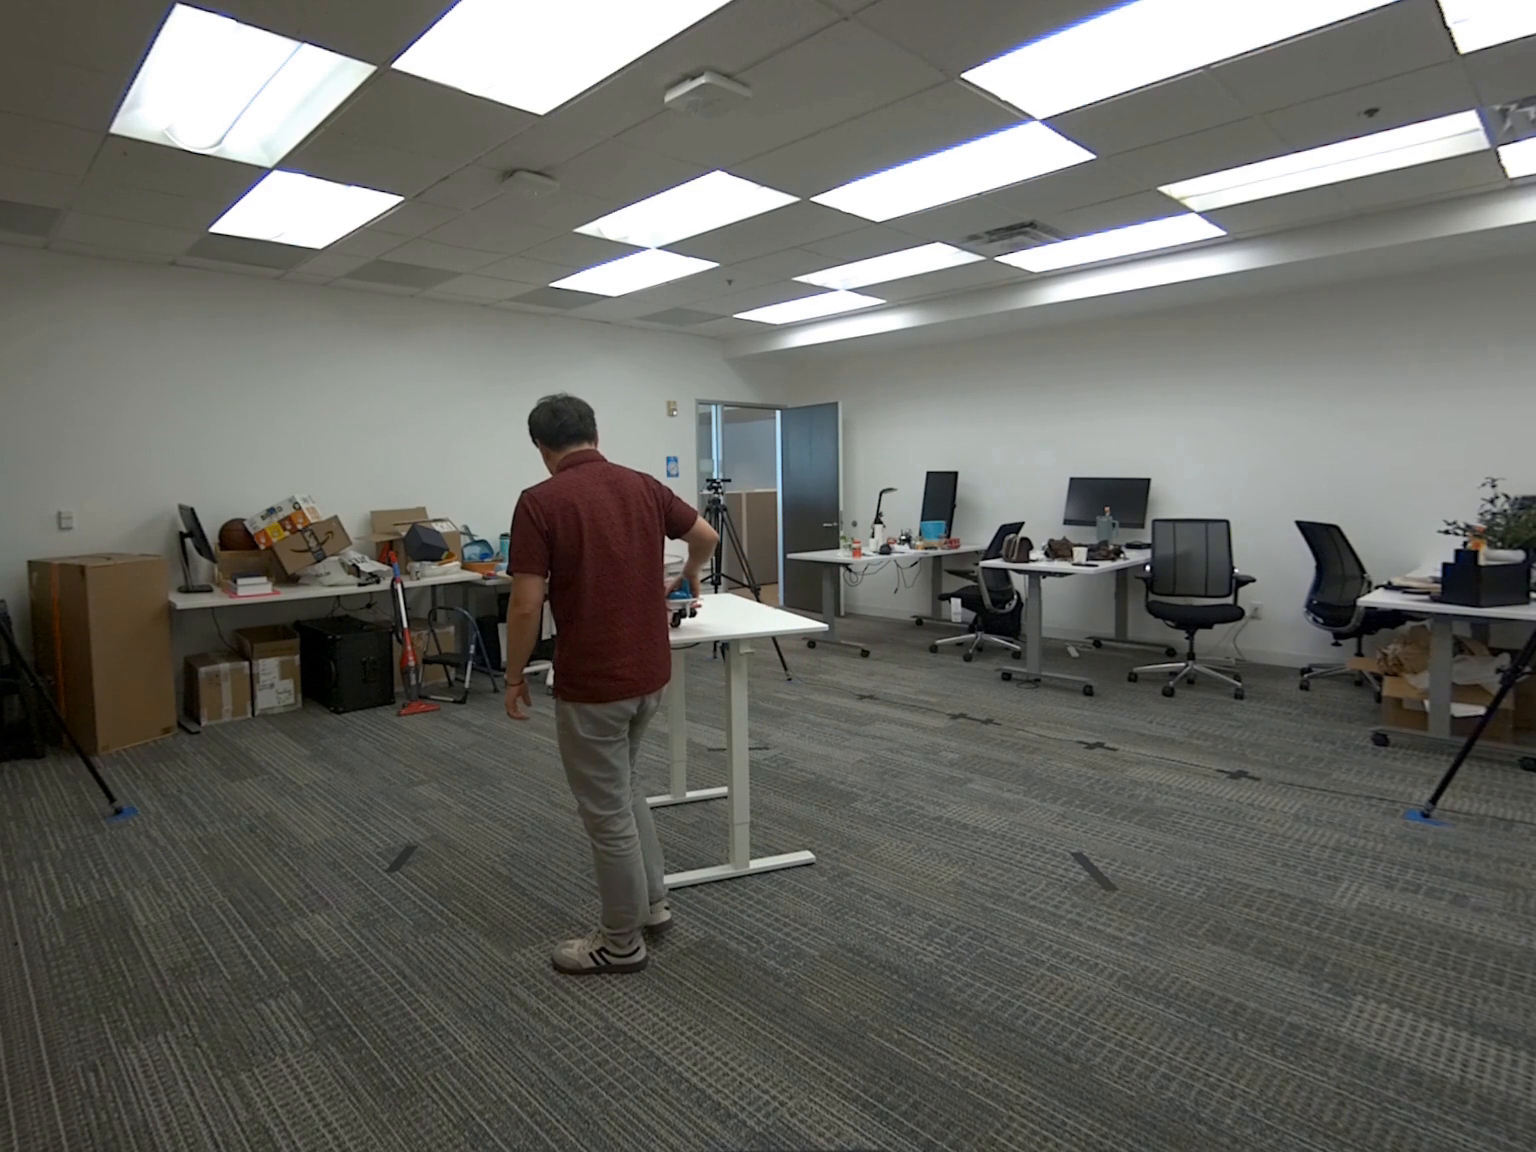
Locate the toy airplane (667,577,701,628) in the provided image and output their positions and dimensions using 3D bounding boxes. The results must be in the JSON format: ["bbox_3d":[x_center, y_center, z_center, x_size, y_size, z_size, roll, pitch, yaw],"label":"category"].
[{"bbox_3d":[-0.315,0.087,2.922,0.264,0.158,0.243,-17,-13,31],"label":"toy airplane"}]
